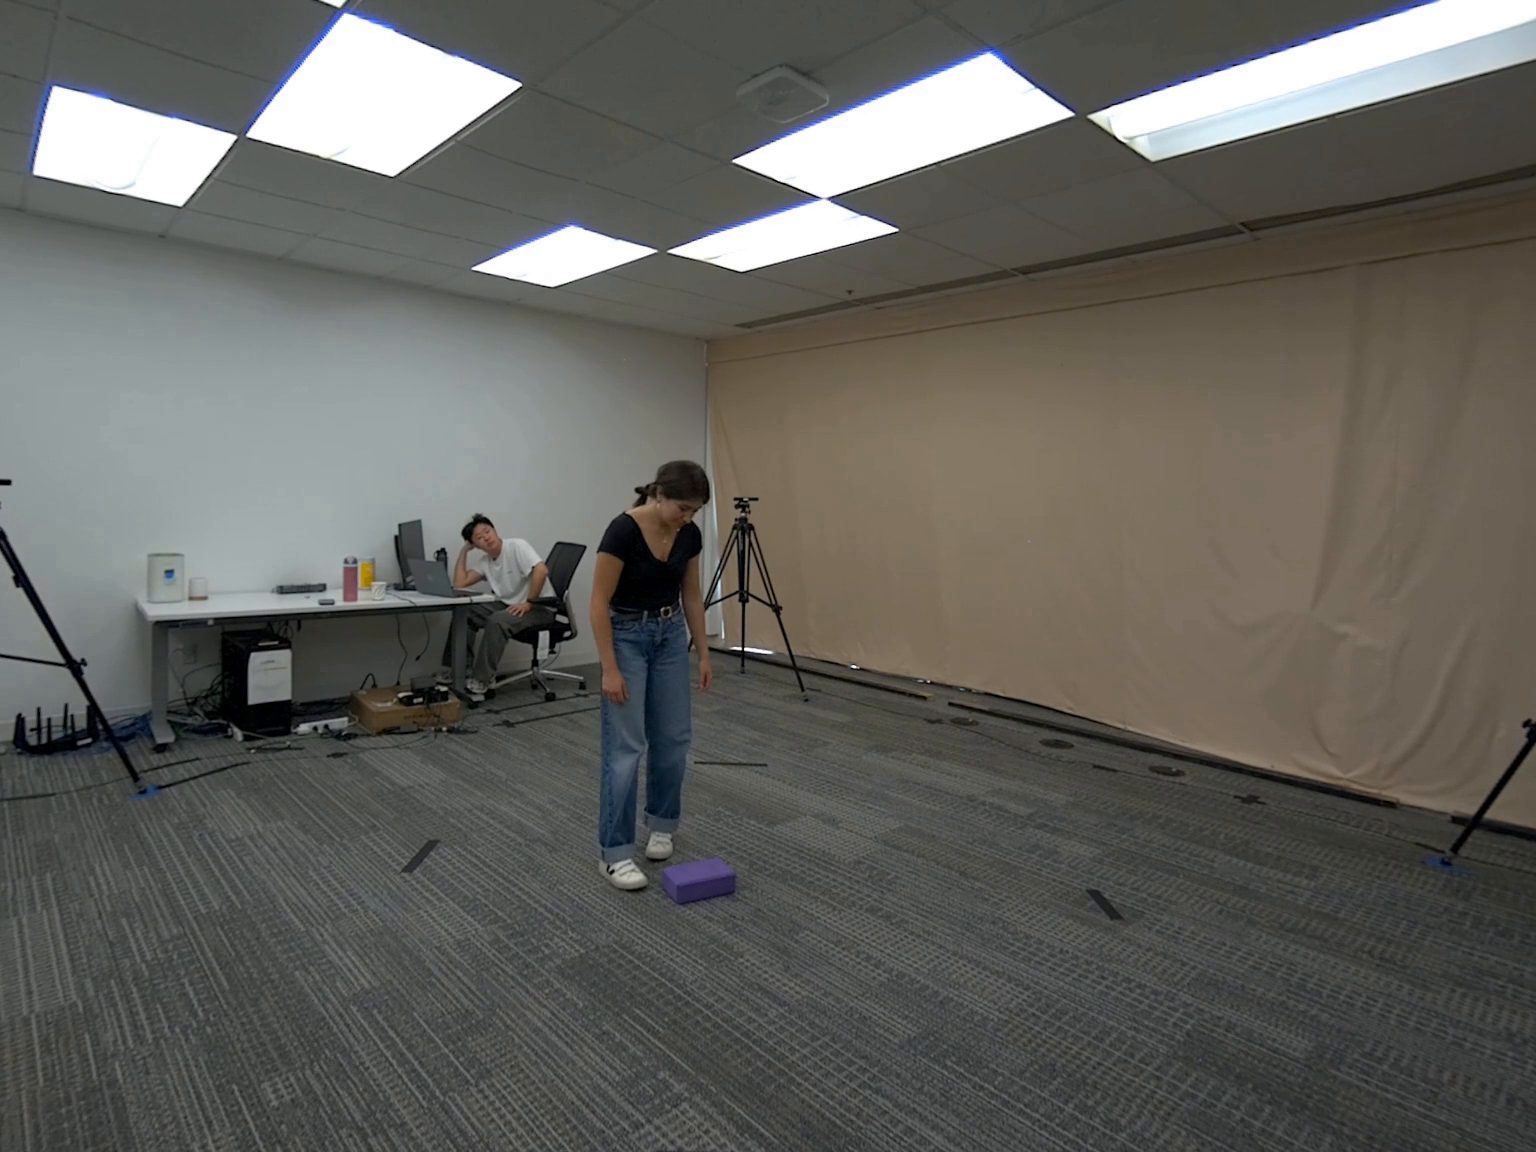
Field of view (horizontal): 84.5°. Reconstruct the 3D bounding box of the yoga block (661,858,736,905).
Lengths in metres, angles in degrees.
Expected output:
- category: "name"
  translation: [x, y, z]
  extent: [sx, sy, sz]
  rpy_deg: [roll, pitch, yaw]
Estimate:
- category: "yoga block"
  translation: [-0.252, 1.079, 2.974]
  extent: [0.225, 0.076, 0.152]
  rpy_deg: [-2, 6, -28]
